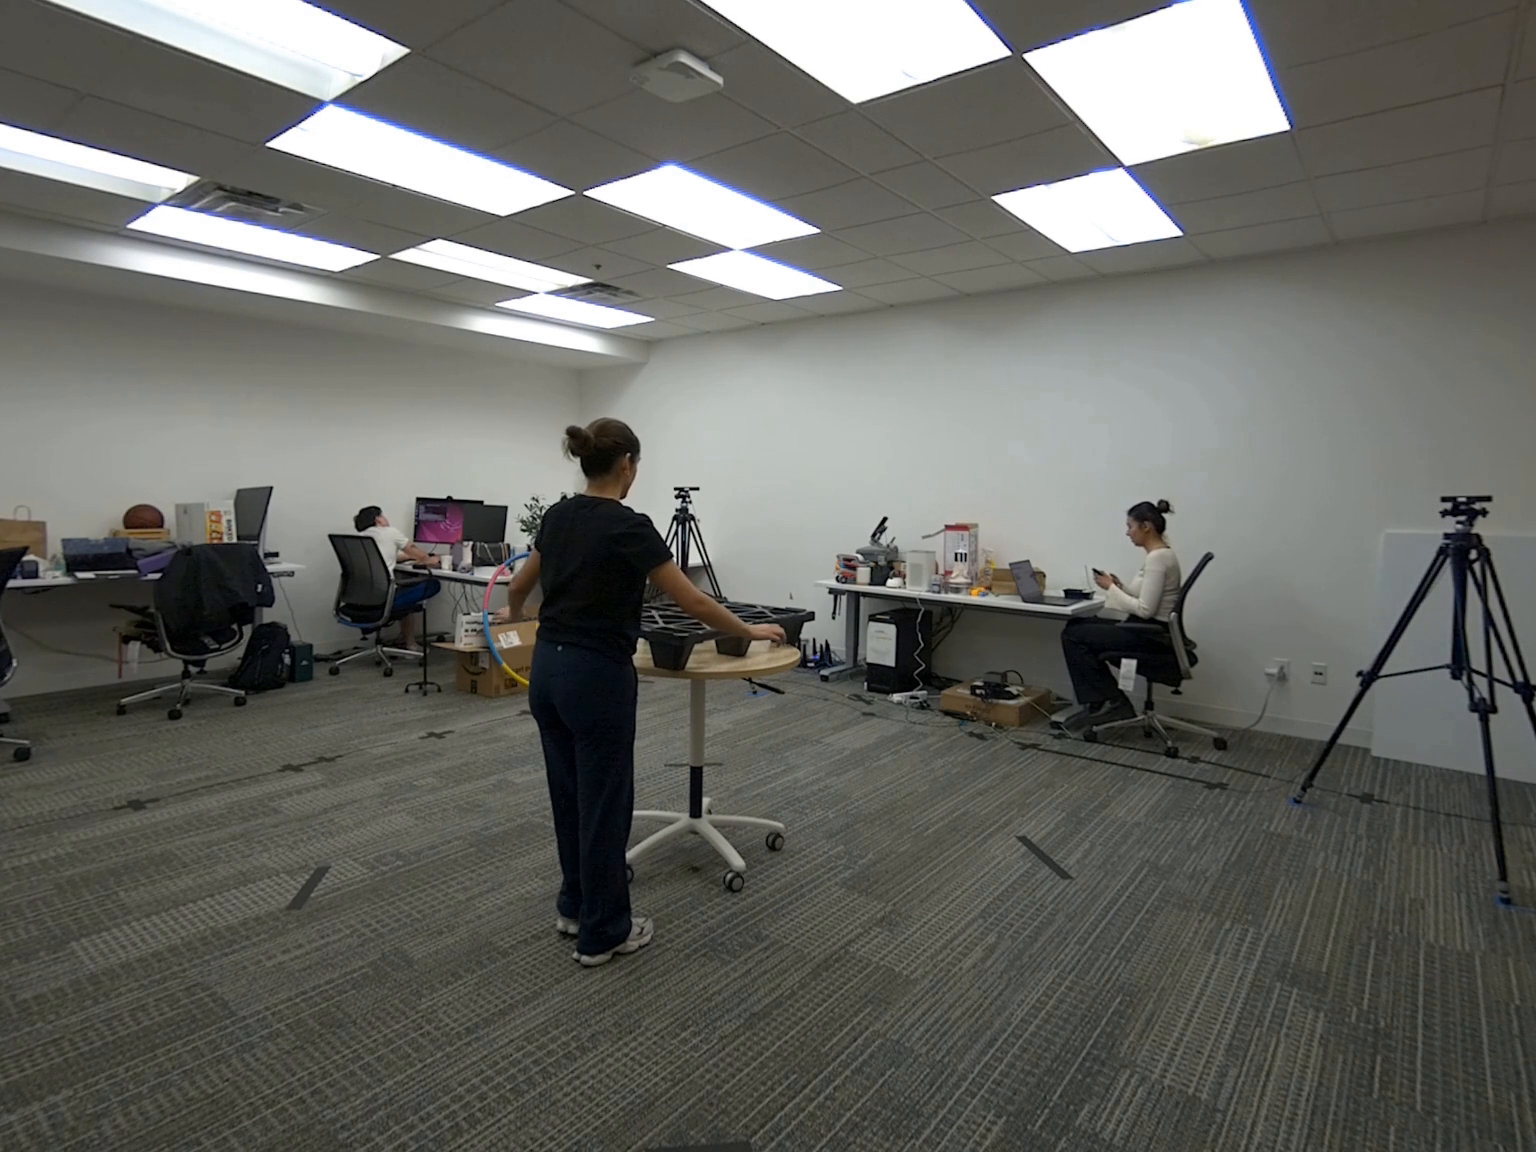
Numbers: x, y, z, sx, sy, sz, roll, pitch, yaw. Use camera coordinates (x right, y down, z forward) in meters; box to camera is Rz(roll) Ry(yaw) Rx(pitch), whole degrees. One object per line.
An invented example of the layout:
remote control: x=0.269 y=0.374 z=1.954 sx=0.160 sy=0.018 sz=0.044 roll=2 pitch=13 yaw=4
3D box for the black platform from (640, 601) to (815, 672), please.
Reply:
black platform: x=-0.271 y=0.204 z=3.255 sx=0.625 sy=0.143 sz=0.782 roll=6 pitch=8 yaw=38
